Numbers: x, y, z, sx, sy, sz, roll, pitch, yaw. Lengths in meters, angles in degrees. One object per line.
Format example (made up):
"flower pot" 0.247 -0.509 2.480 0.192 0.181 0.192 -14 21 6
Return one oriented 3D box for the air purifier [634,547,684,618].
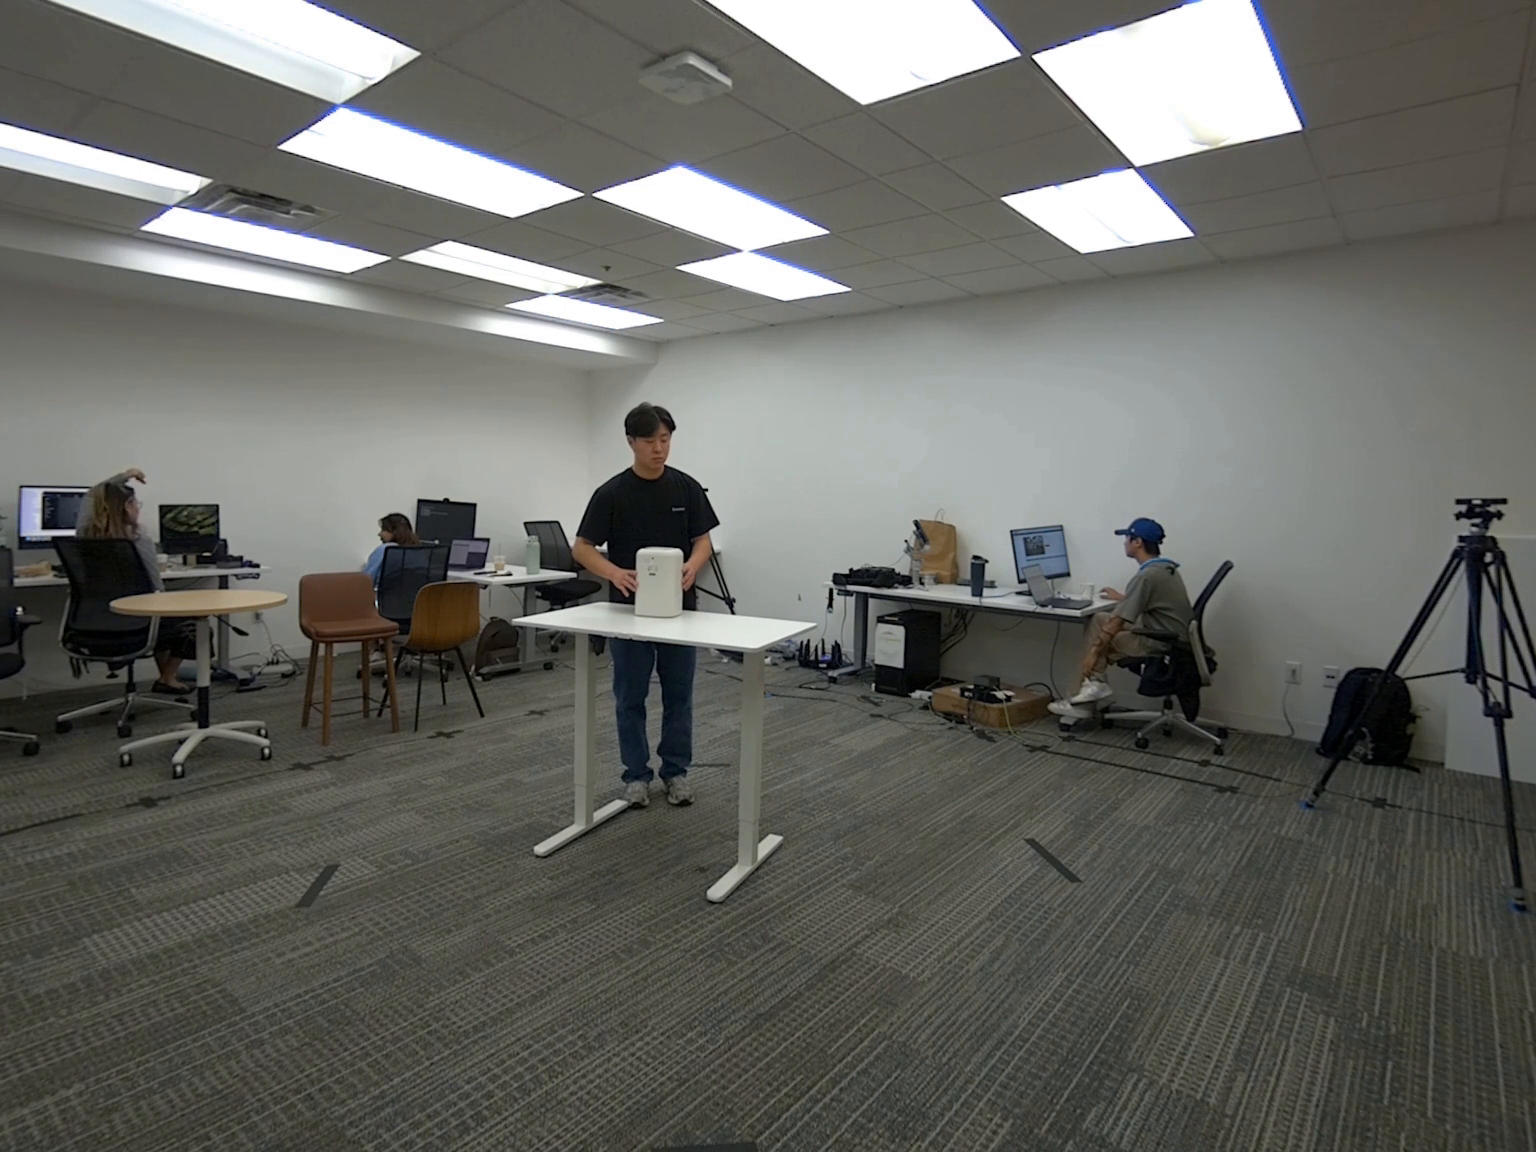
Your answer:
"air purifier" -0.444 0.017 3.402 0.173 0.264 0.170 2 6 11
